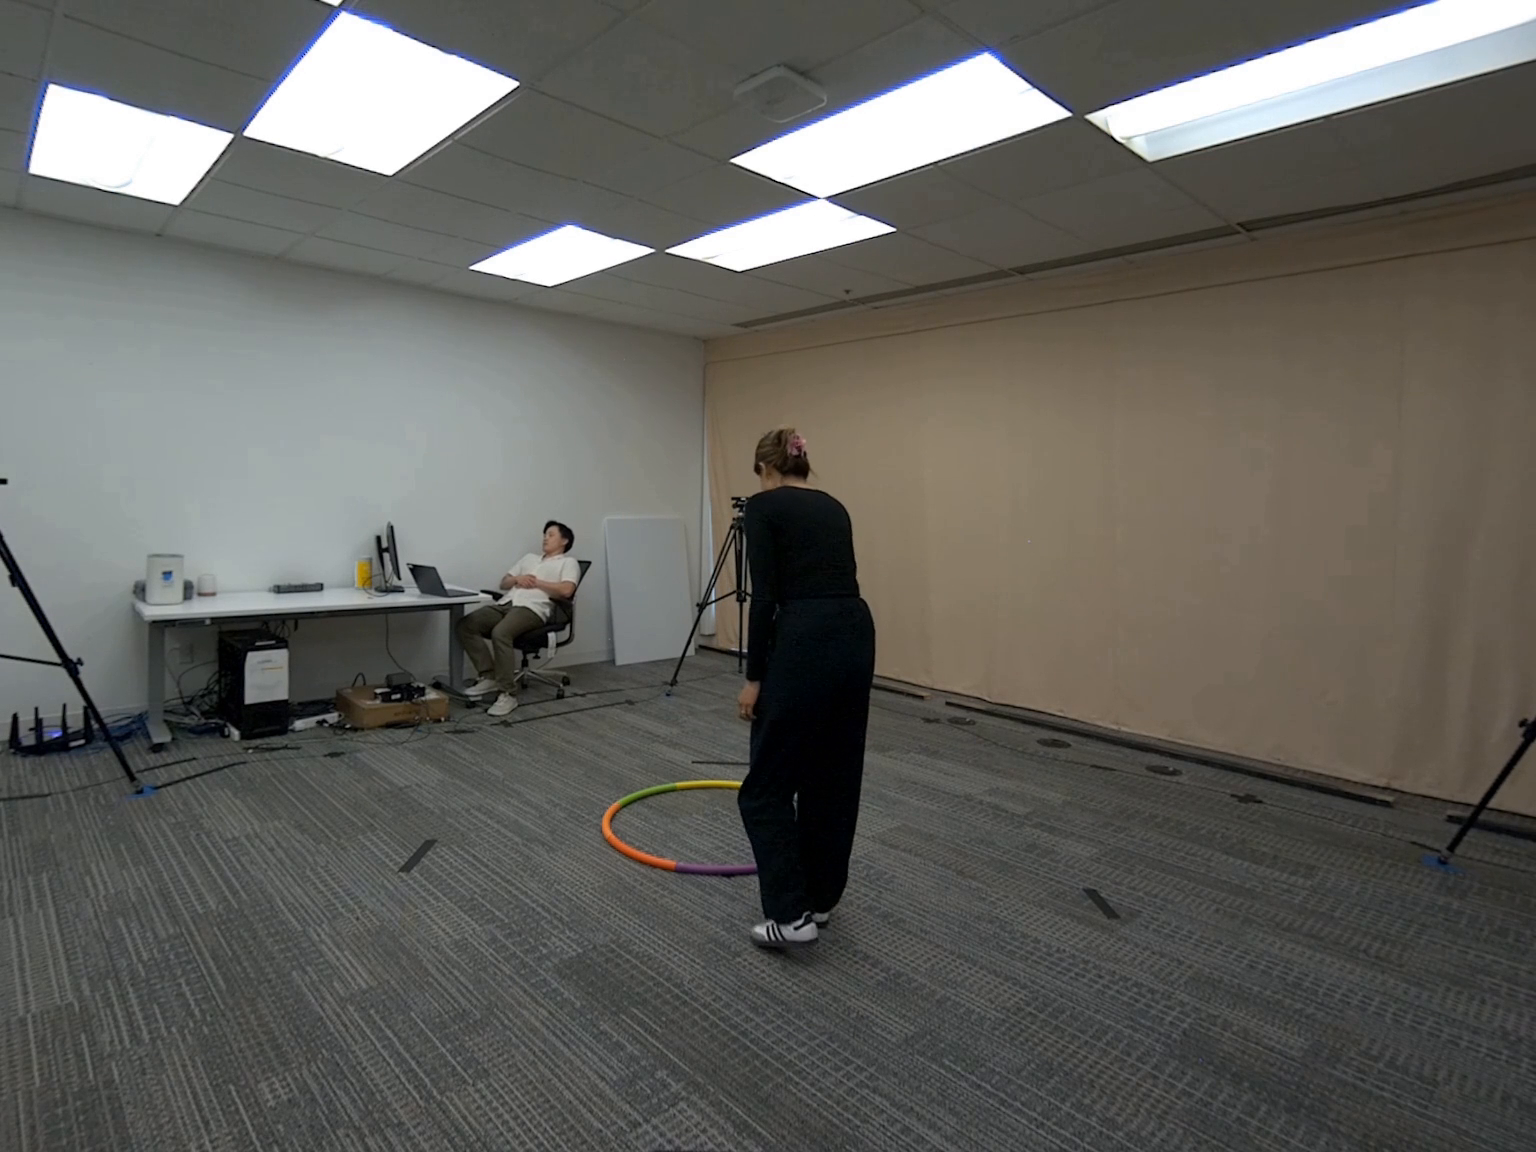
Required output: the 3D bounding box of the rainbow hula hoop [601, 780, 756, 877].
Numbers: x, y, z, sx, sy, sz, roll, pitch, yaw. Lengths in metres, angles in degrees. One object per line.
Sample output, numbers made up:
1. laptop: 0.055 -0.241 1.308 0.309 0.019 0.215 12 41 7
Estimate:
1. rainbow hula hoop: -0.215 1.033 3.584 0.978 0.035 0.982 2 5 -1
